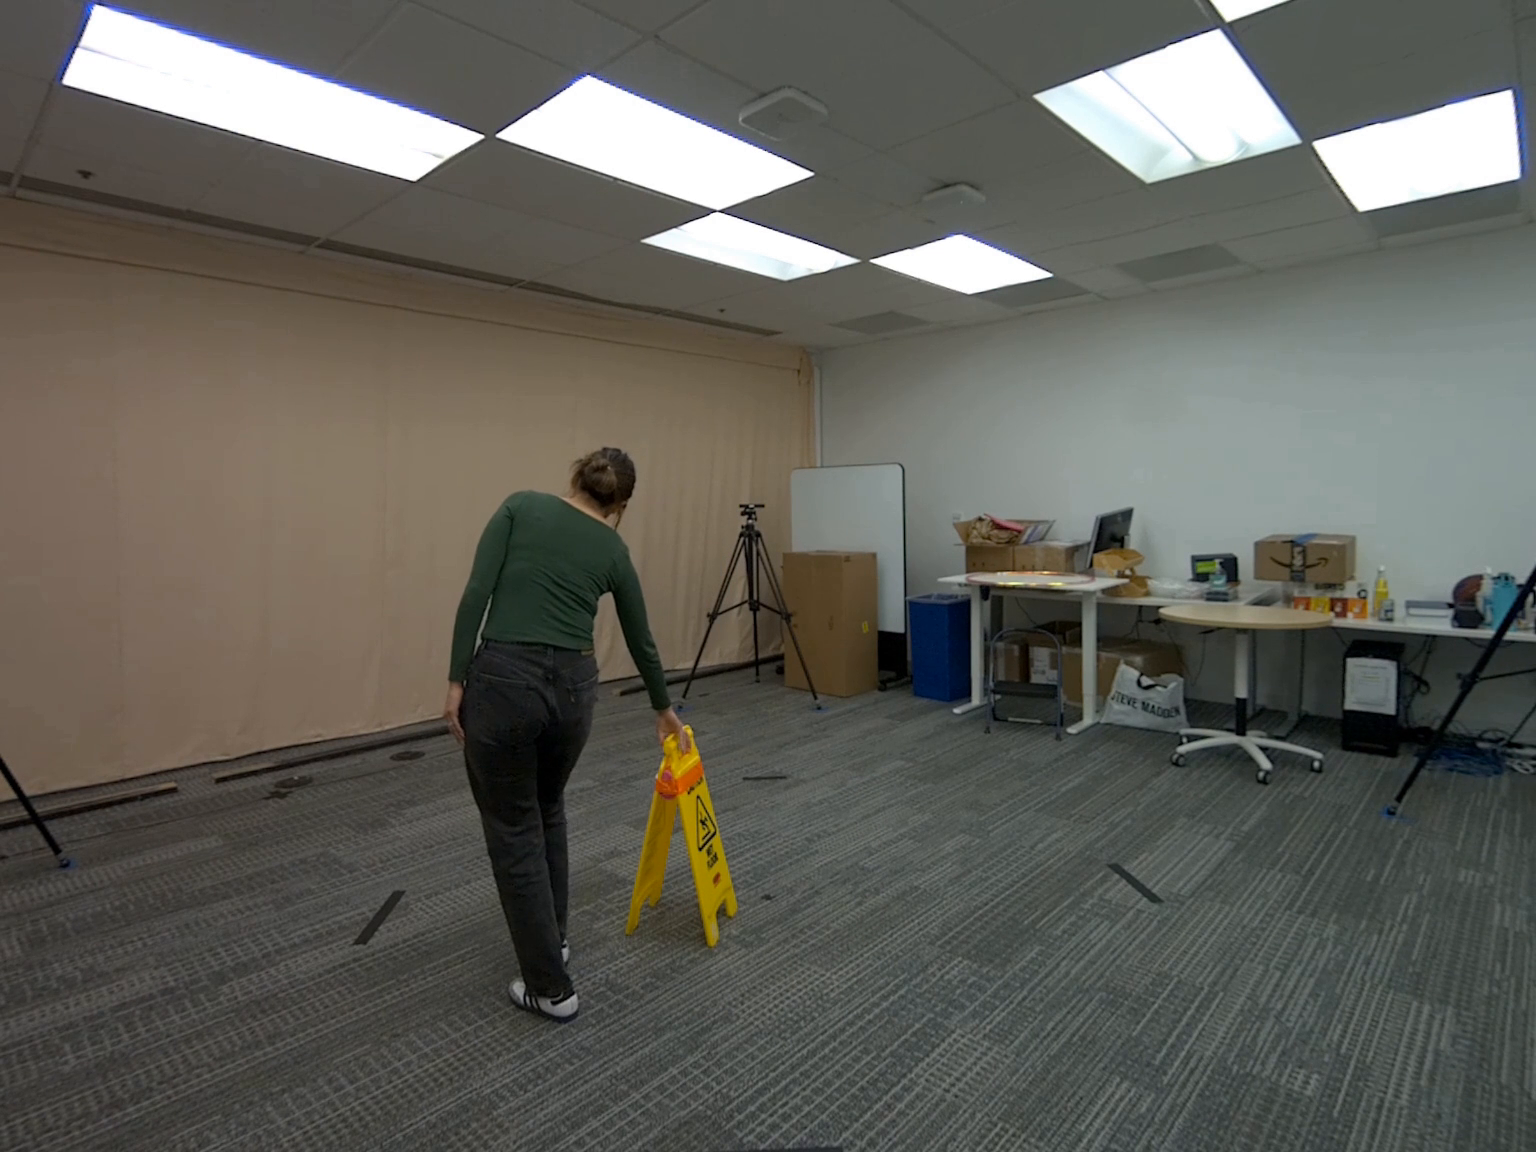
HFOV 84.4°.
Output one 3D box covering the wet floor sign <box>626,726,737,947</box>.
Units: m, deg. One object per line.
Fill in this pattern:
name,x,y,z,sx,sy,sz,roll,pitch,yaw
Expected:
wet floor sign,-0.287,0.839,2.803,0.295,0.644,0.278,1,5,17
